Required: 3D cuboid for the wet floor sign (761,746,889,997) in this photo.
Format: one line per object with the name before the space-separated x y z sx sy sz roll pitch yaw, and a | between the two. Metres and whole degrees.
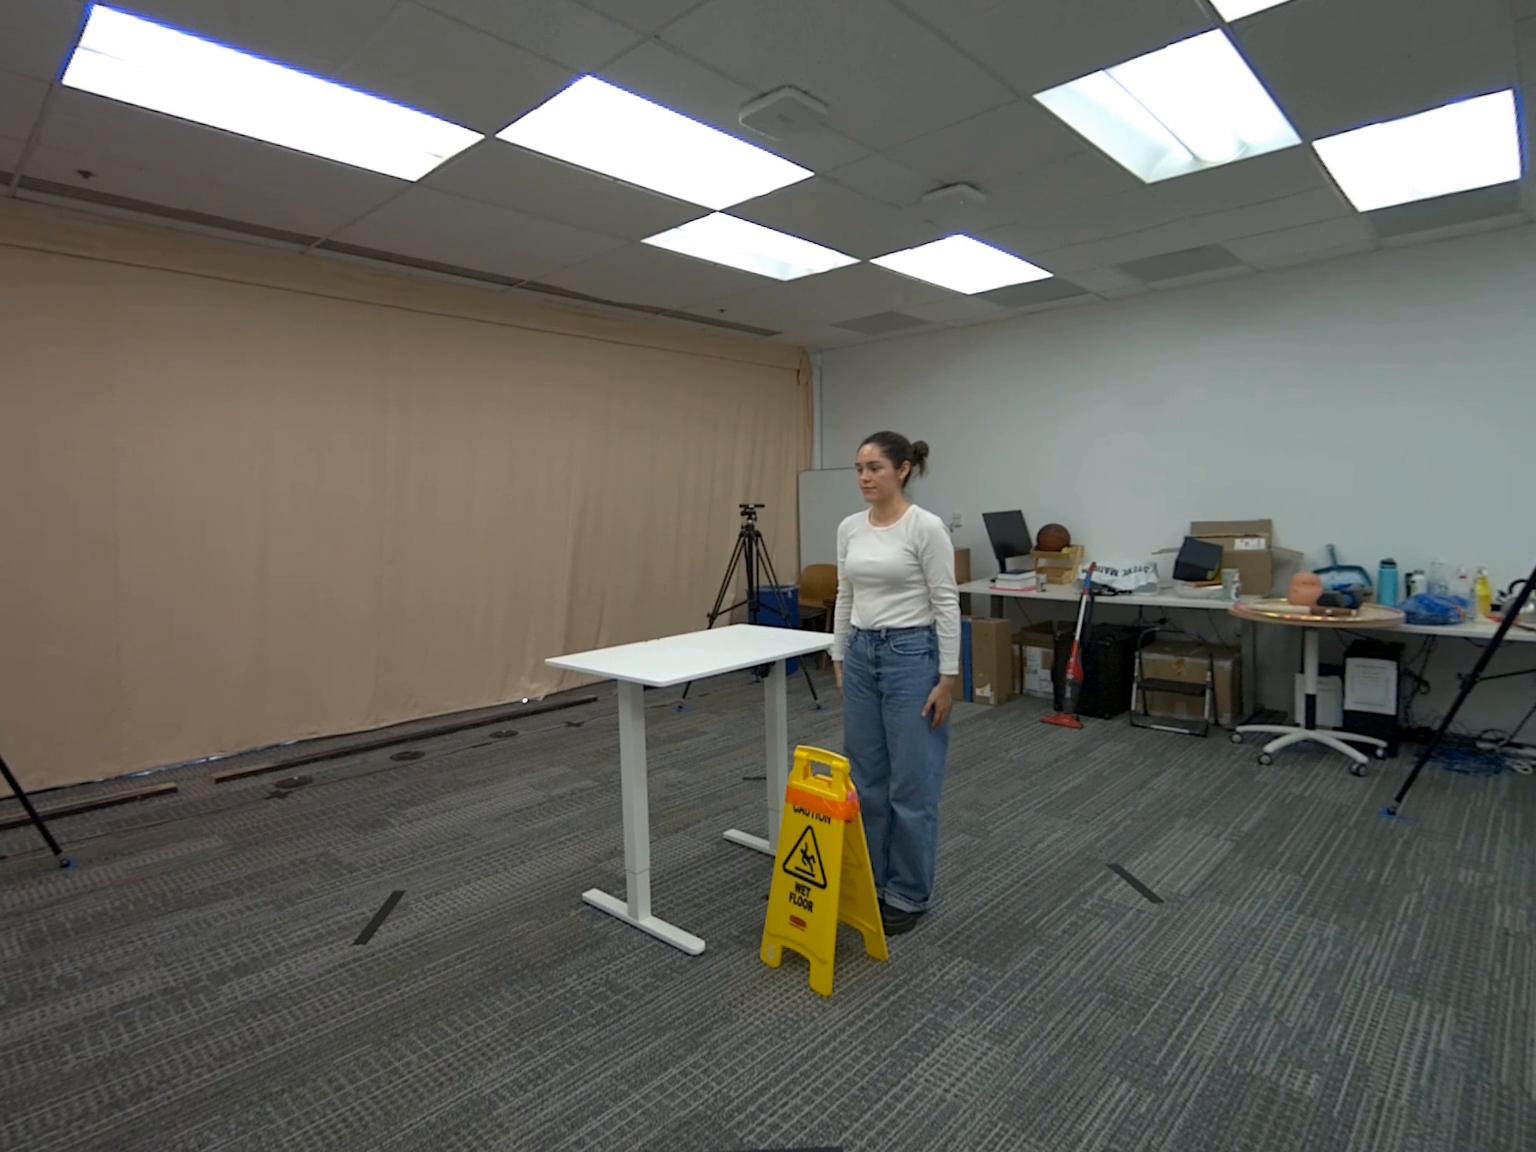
wet floor sign | 0.175 0.849 2.549 0.291 0.645 0.281 2 4 45
